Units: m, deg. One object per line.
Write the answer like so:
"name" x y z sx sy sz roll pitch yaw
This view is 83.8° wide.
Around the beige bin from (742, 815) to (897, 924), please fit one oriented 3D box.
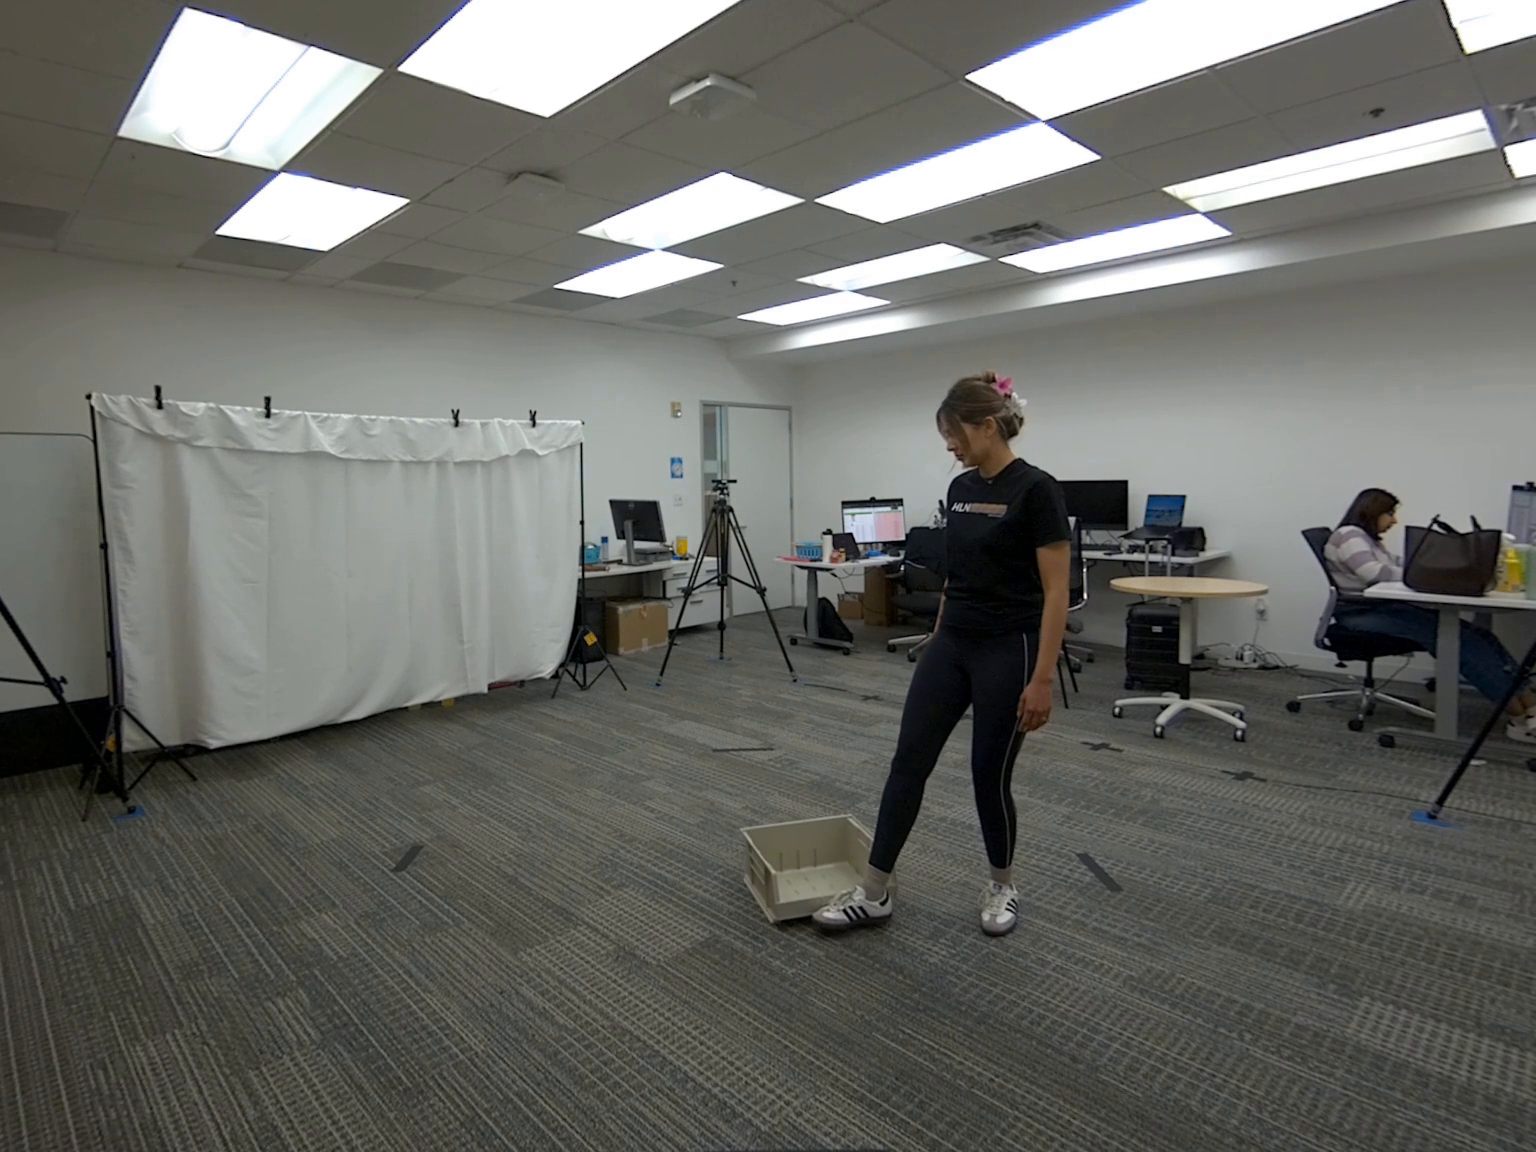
"beige bin" 0.168 0.983 2.863 0.416 0.188 0.384 -4 5 -17
